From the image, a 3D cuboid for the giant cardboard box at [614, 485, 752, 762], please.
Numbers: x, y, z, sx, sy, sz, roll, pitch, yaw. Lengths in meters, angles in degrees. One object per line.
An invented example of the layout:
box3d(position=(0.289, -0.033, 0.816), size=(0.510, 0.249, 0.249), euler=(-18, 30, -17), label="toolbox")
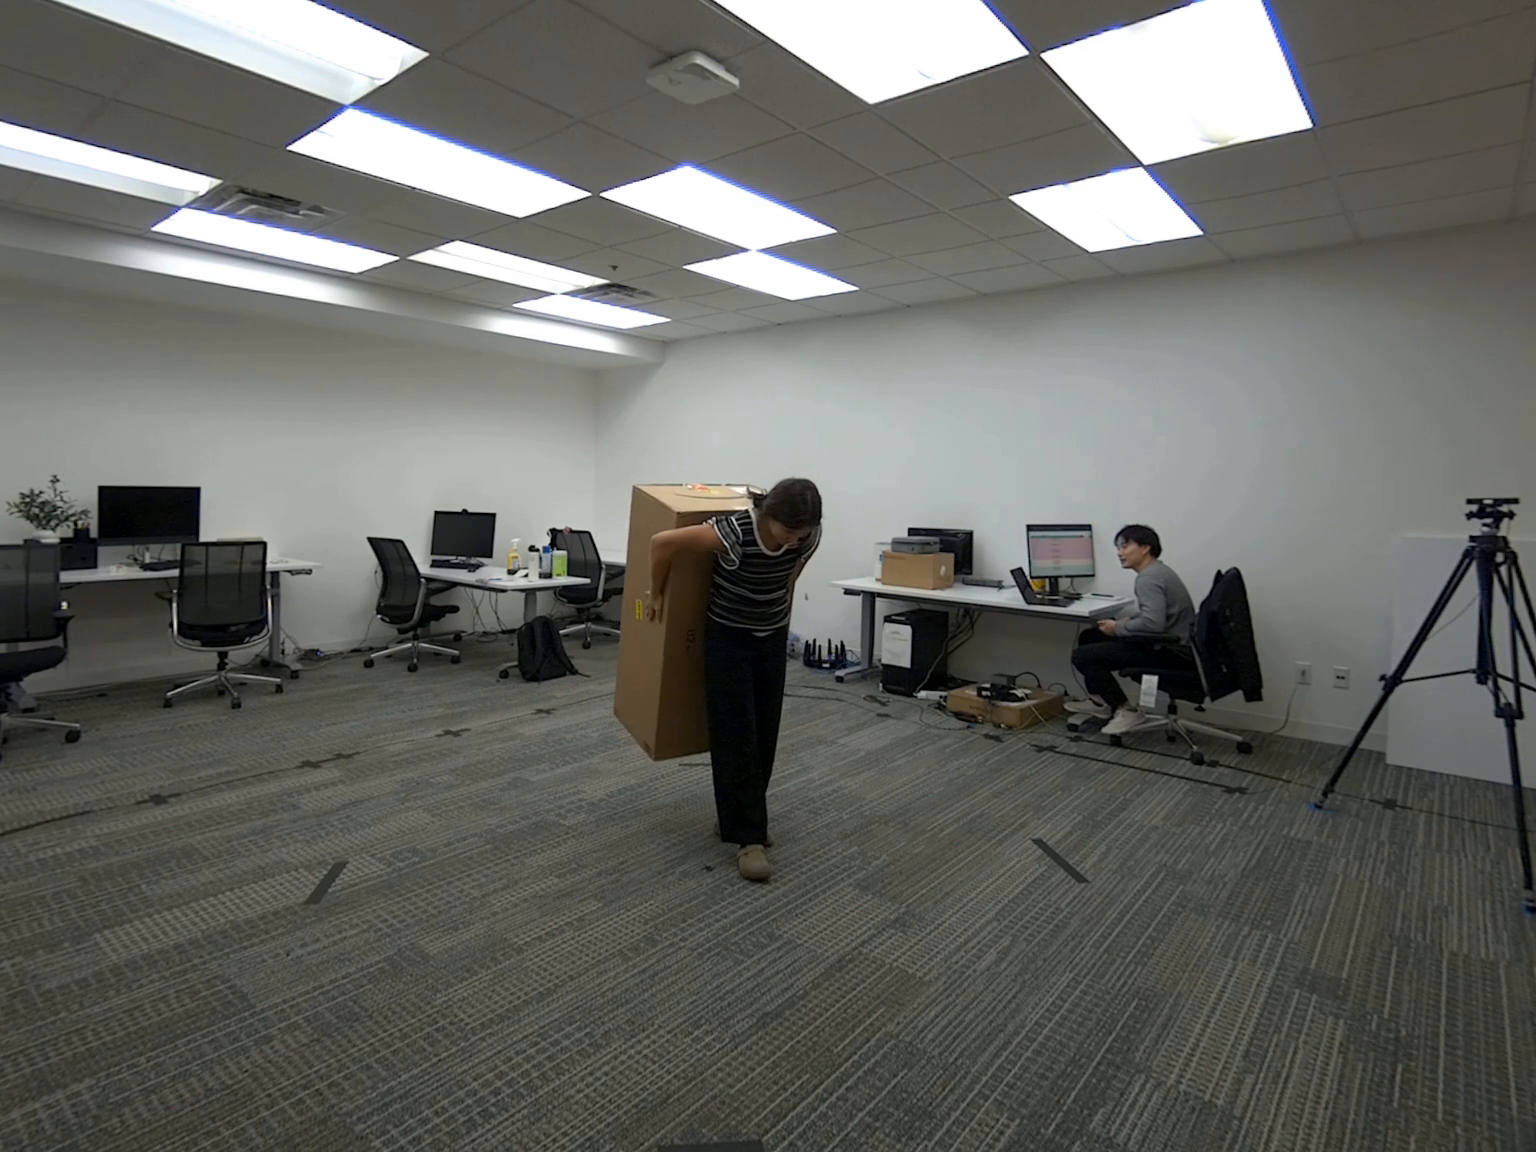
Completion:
box3d(position=(-0.283, 0.163, 3.524), size=(0.562, 1.013, 0.443), euler=(-3, 18, -31), label="giant cardboard box")
